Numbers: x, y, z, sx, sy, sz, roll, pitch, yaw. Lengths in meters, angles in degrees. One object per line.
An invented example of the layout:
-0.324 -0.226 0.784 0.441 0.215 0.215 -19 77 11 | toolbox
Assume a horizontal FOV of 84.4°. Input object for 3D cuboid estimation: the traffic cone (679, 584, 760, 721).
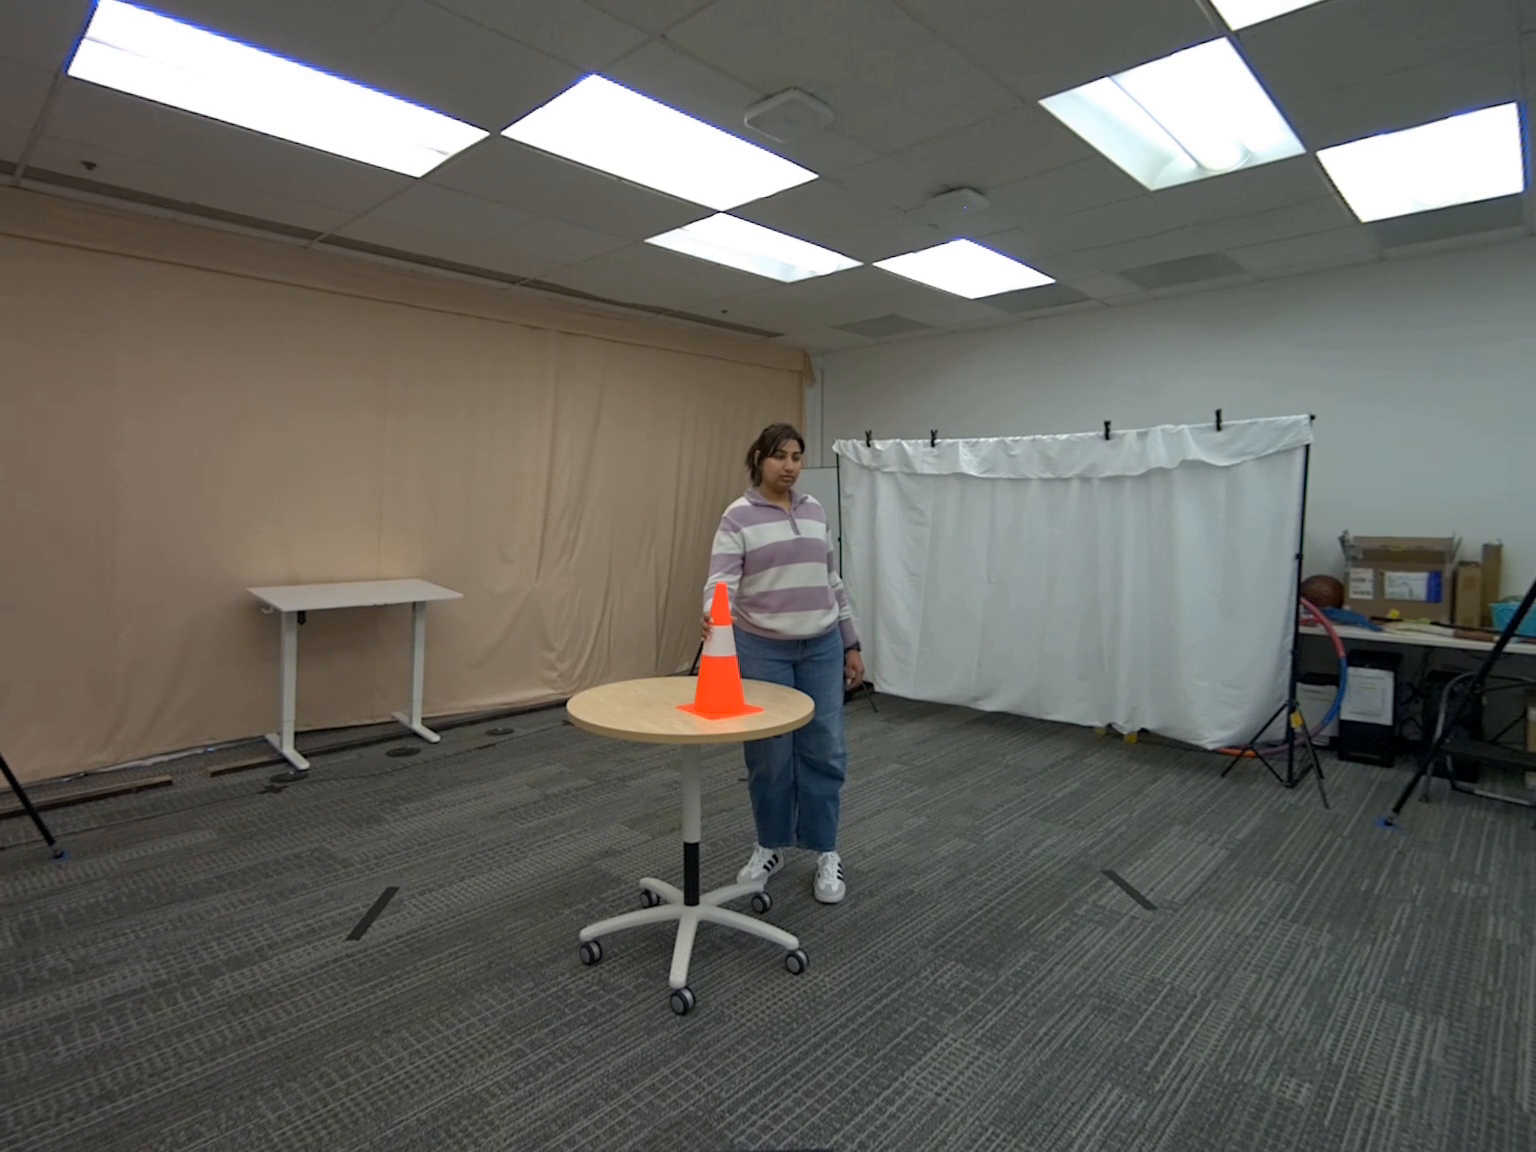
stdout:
-0.146 0.212 2.524 0.197 0.383 0.211 -2 2 -45 | traffic cone
